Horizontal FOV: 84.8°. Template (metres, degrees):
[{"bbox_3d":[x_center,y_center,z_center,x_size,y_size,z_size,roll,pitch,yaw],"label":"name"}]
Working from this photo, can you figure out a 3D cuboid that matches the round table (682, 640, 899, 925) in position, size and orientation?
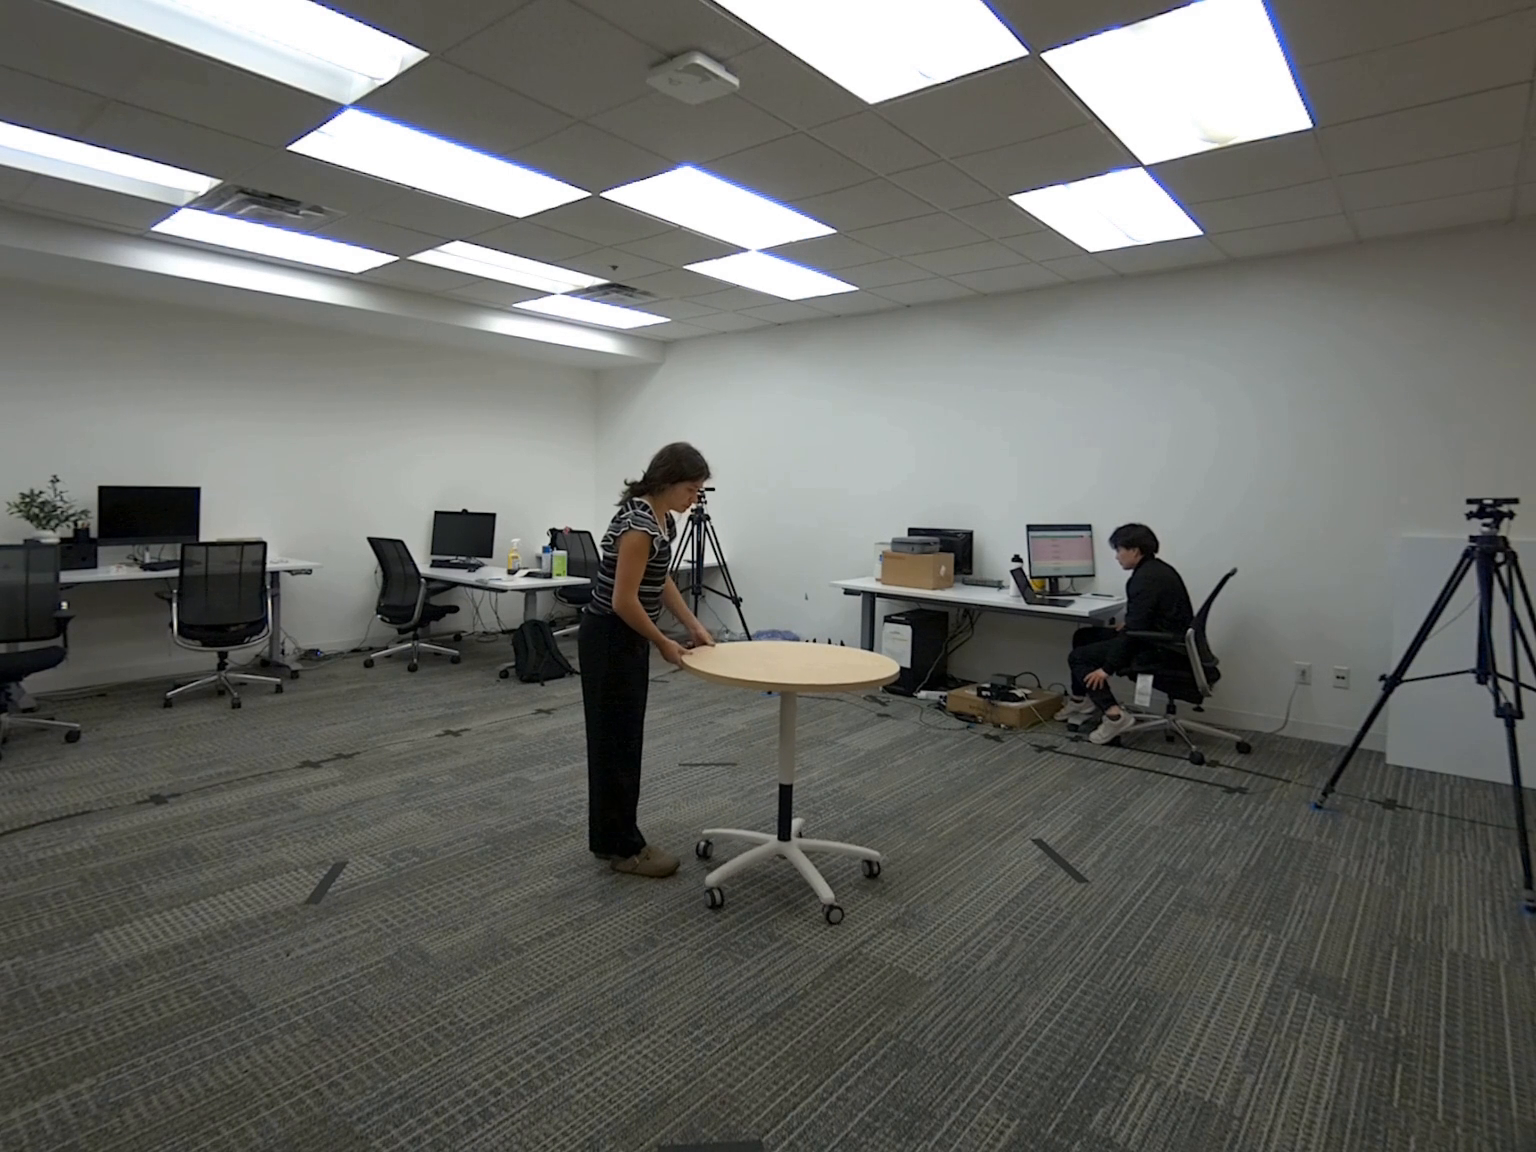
[{"bbox_3d":[0.062,0.689,3.013,0.784,0.784,0.788,1,3,-2],"label":"round table"}]
